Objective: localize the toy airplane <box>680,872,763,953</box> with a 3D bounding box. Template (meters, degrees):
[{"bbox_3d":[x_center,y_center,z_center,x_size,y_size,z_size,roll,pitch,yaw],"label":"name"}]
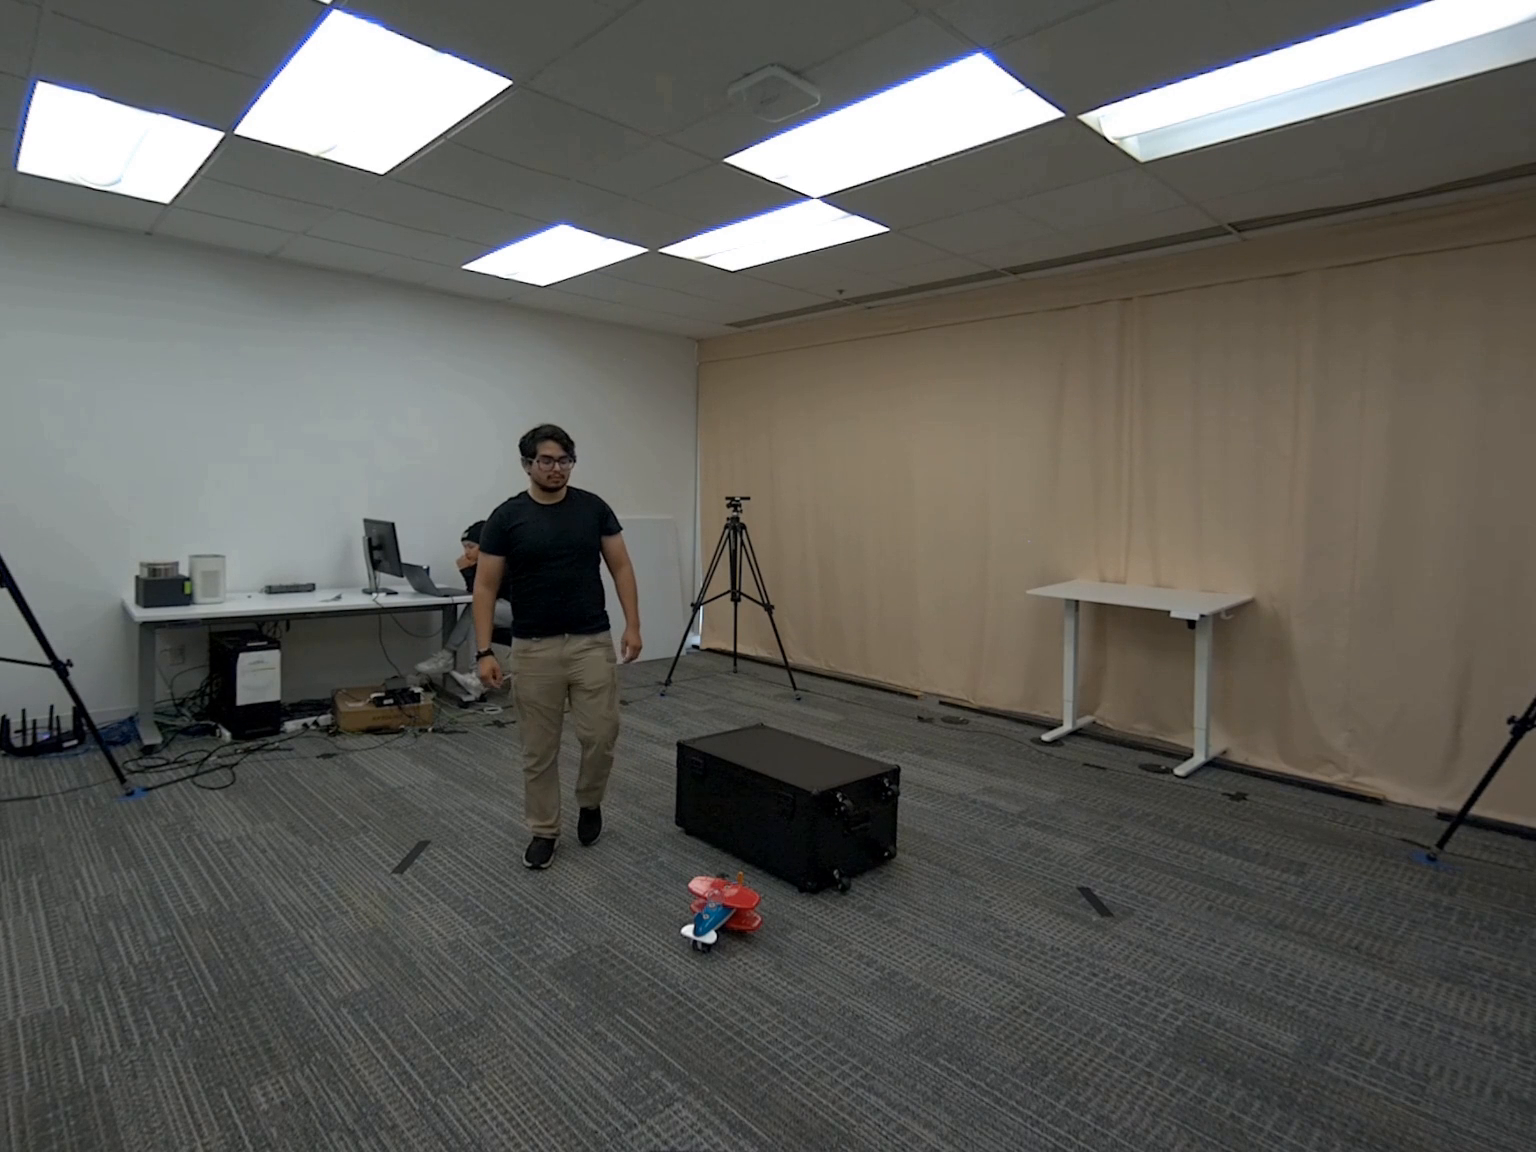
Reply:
[{"bbox_3d":[-0.149,1.074,2.652,0.252,0.156,0.259,1,3,2],"label":"toy airplane"}]
